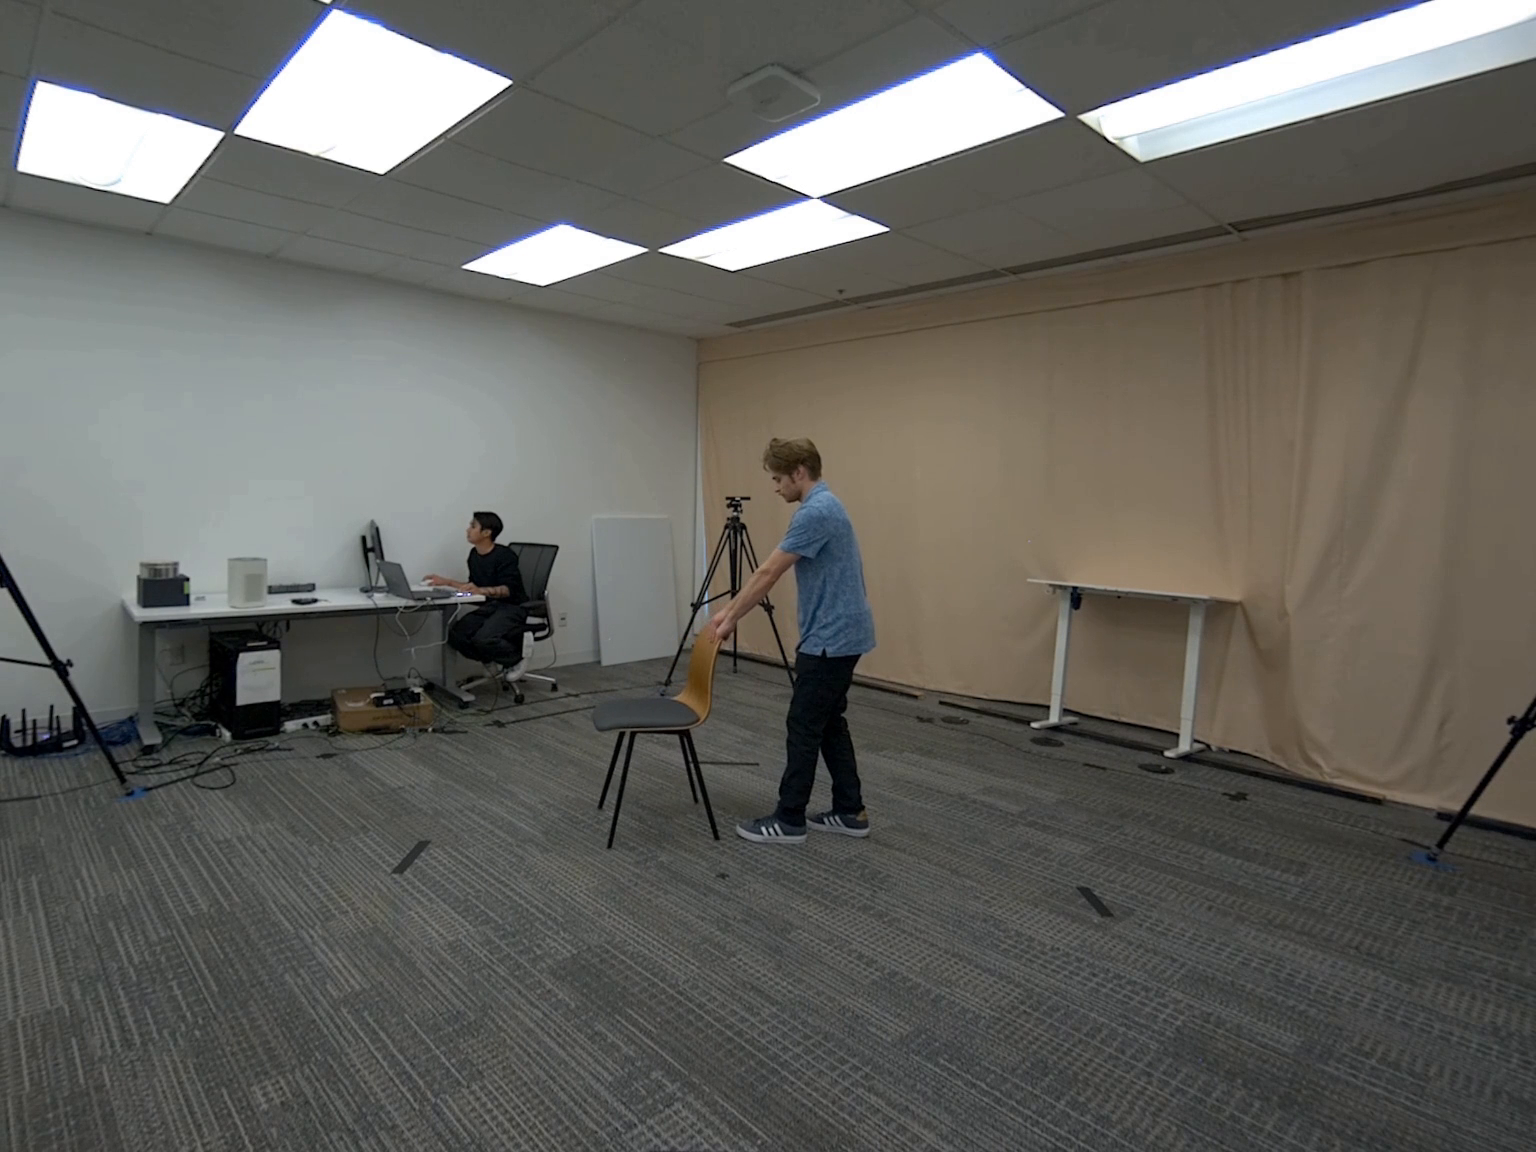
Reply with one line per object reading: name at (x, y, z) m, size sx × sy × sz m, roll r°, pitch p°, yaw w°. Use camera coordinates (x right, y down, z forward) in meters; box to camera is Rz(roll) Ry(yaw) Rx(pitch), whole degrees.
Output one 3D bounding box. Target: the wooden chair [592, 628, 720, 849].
wooden chair at (-0.481, 0.628, 3.545) m, size 0.516 × 0.876 × 0.485 m, roll 5°, pitch 2°, yaw -16°
